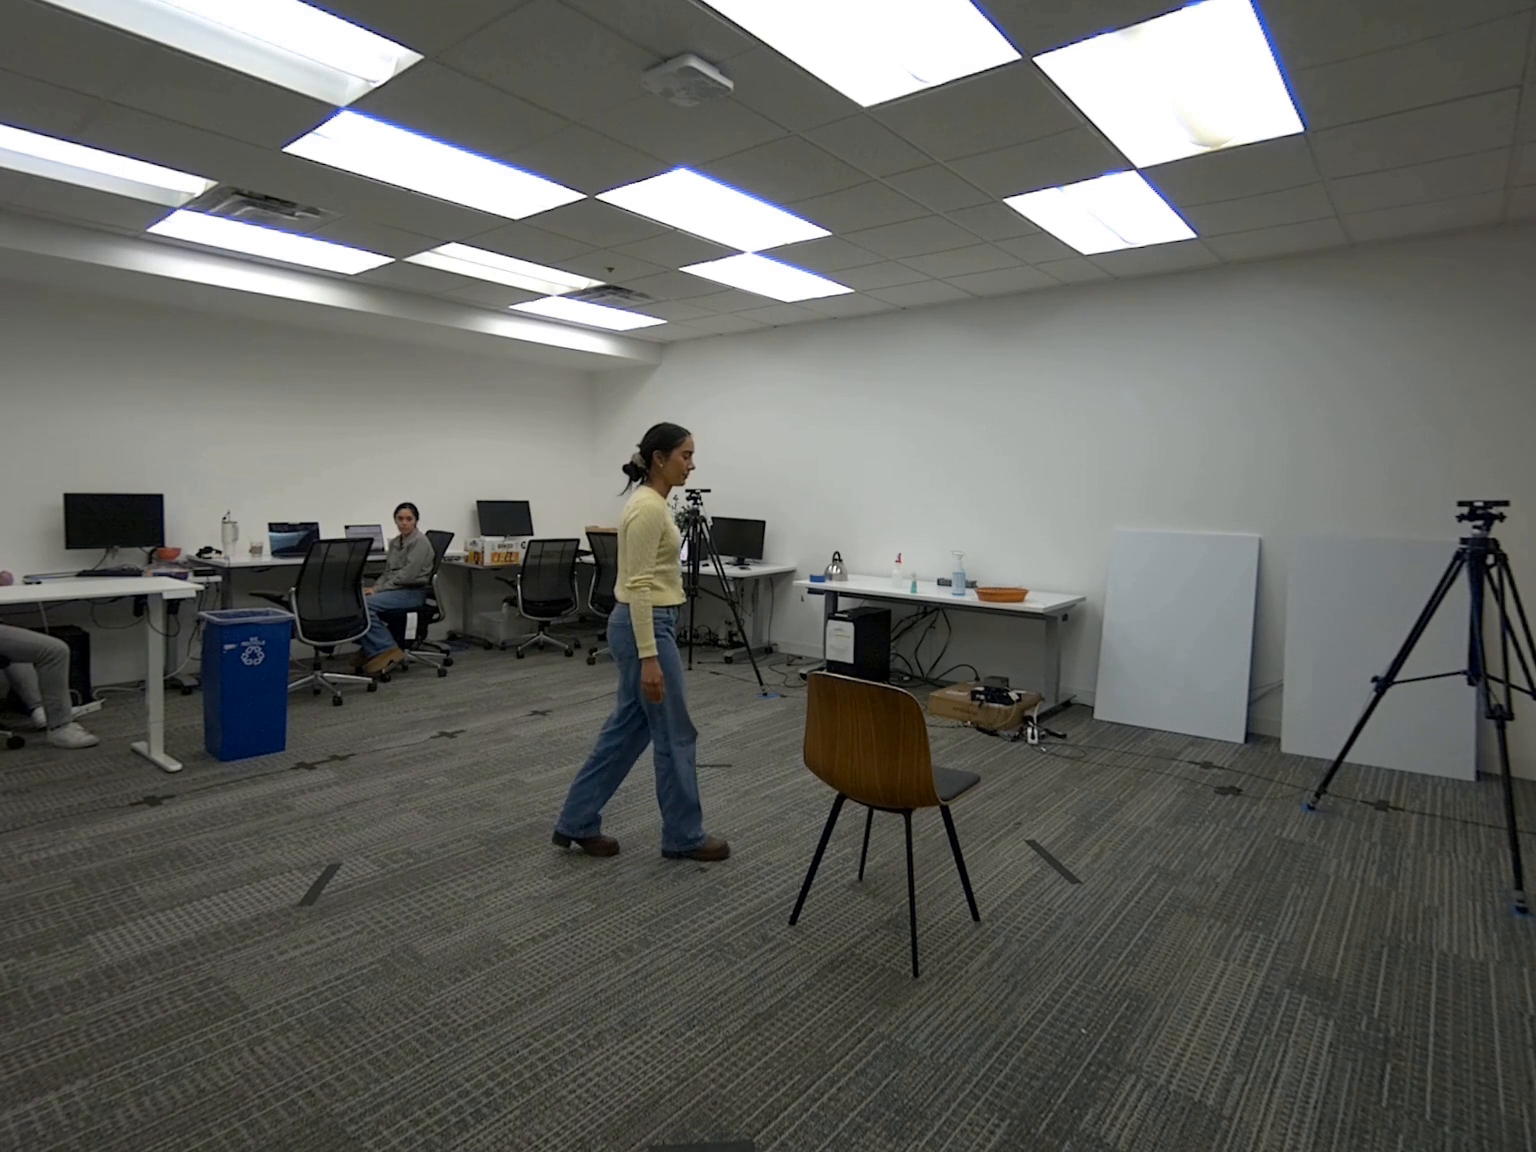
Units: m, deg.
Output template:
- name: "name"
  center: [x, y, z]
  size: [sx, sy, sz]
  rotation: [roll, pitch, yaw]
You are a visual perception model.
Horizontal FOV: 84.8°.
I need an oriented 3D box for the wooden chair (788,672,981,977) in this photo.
- name: "wooden chair"
  center: [0.387, 0.695, 2.738]
  size: [0.494, 0.872, 0.509]
  rotation: [4, 8, 38]
